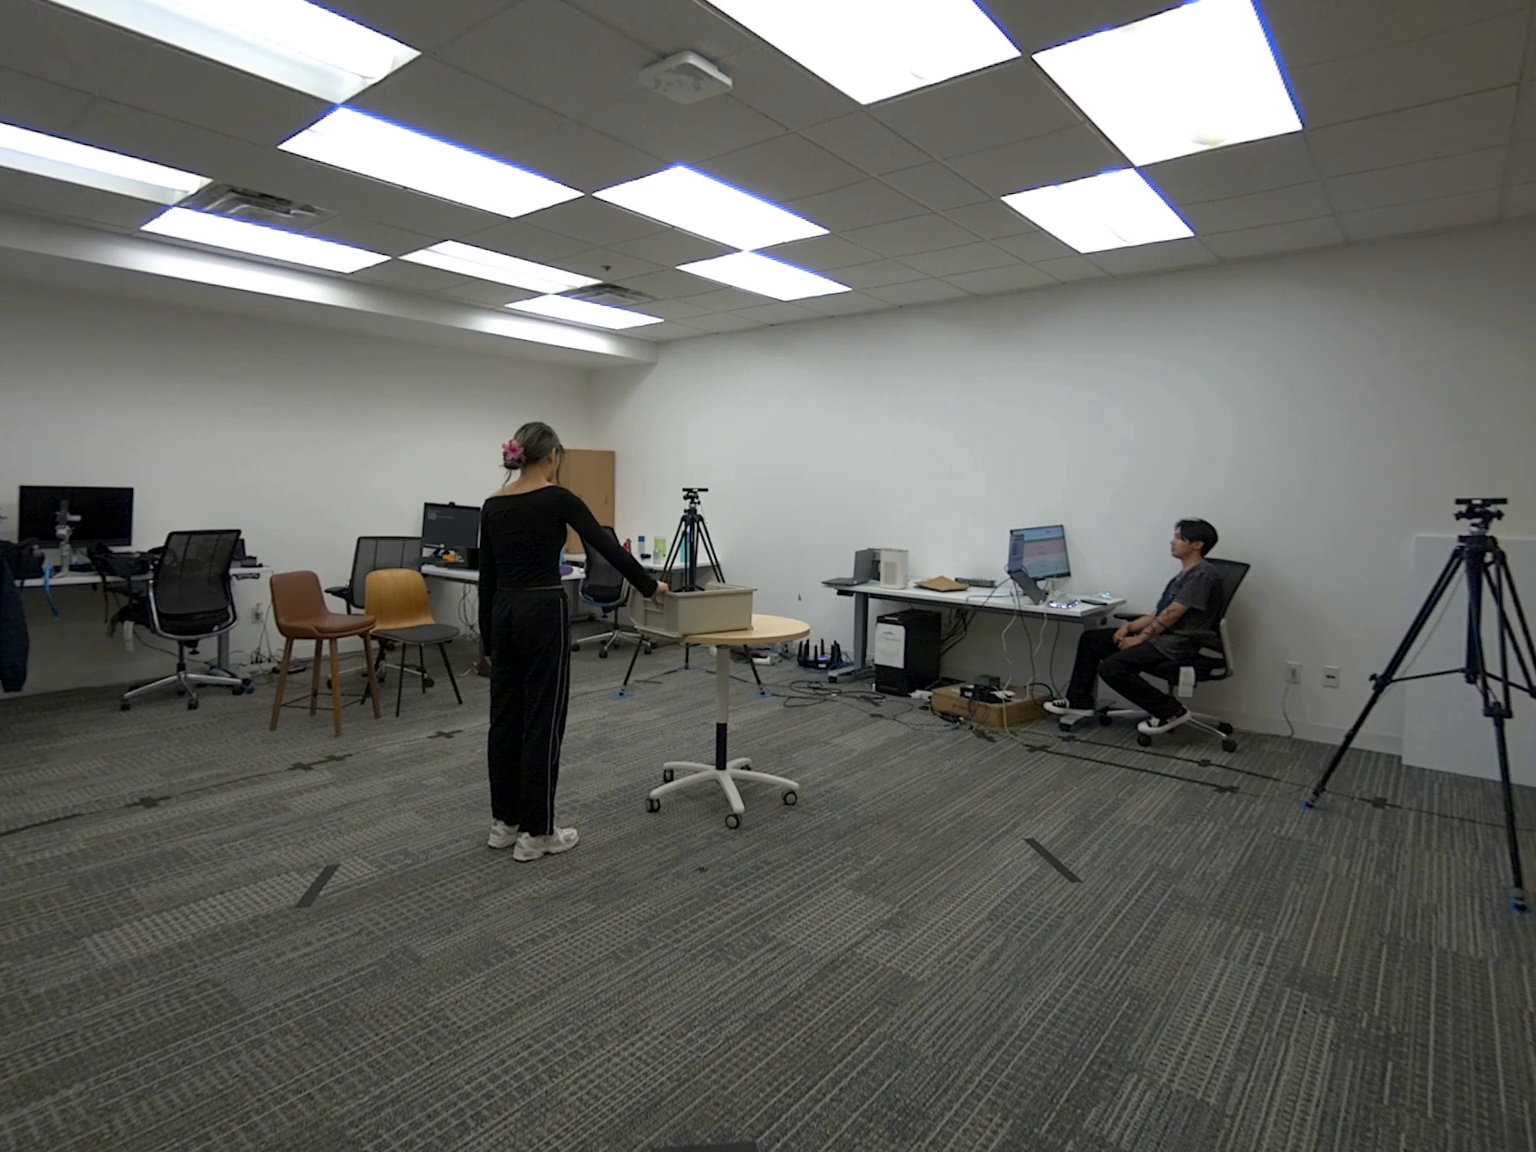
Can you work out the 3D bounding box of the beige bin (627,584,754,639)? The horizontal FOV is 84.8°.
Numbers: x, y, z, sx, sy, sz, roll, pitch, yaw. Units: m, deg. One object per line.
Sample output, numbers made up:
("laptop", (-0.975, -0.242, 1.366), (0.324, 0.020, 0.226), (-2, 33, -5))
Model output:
("beige bin", (-0.339, 0.132, 3.654), (0.409, 0.188, 0.390), (-2, 6, -39))
